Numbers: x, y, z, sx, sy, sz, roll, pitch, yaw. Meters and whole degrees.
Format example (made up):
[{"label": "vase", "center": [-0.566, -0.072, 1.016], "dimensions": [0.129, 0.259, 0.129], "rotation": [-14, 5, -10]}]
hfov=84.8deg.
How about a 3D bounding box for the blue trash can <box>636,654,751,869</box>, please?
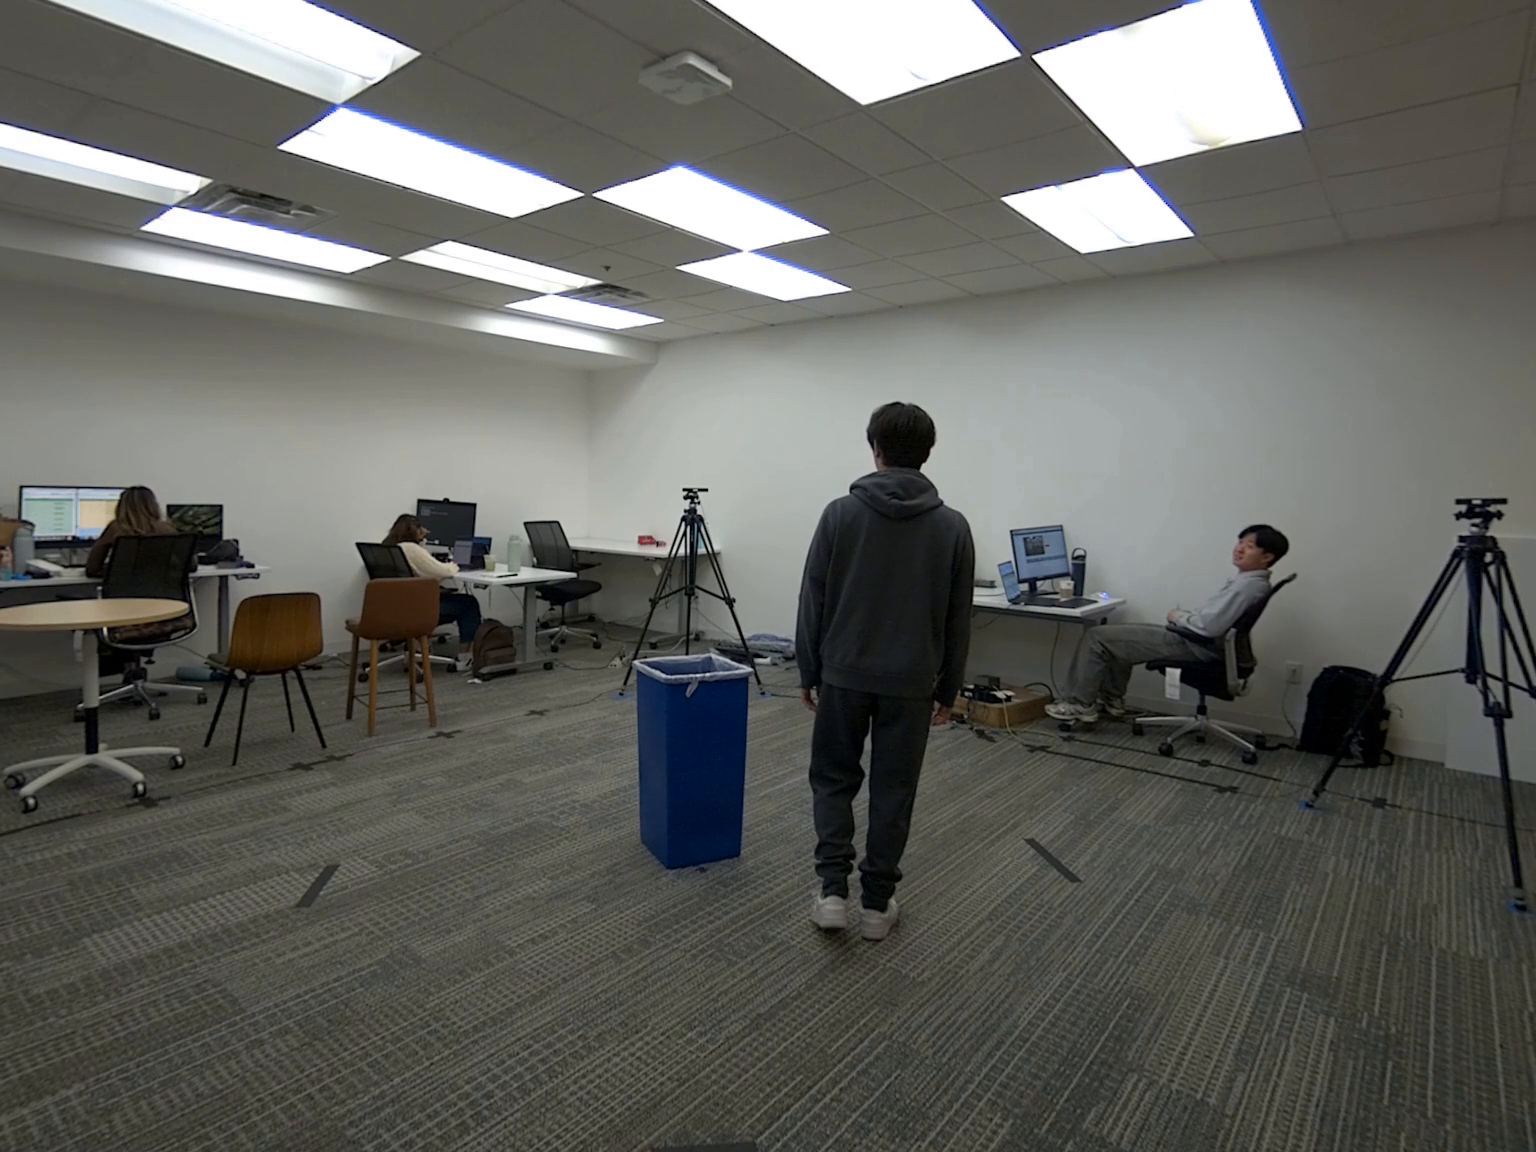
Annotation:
[{"label": "blue trash can", "center": [-0.313, 0.693, 3.280], "dimensions": [0.368, 0.712, 0.385], "rotation": [0, 3, -28]}]
